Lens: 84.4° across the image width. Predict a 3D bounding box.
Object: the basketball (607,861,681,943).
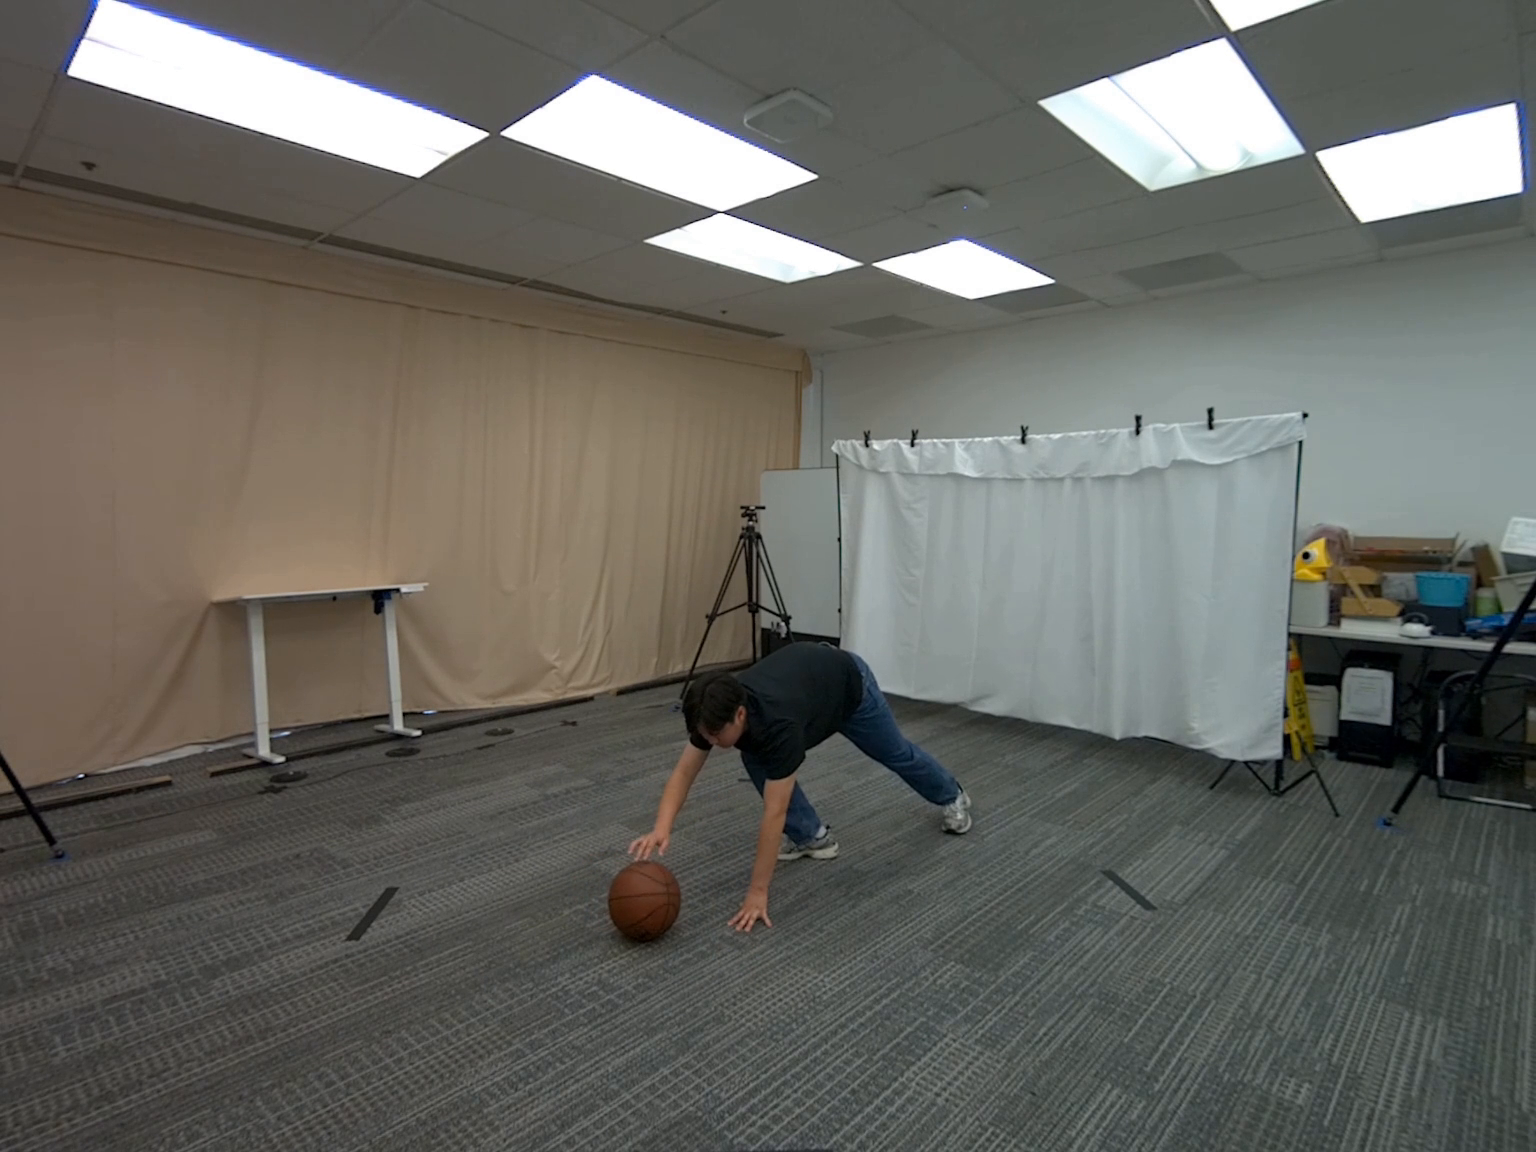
[{"bbox_3d":[-0.400,1.042,2.724,0.236,0.235,0.237,0,4,-2],"label":"basketball"}]
